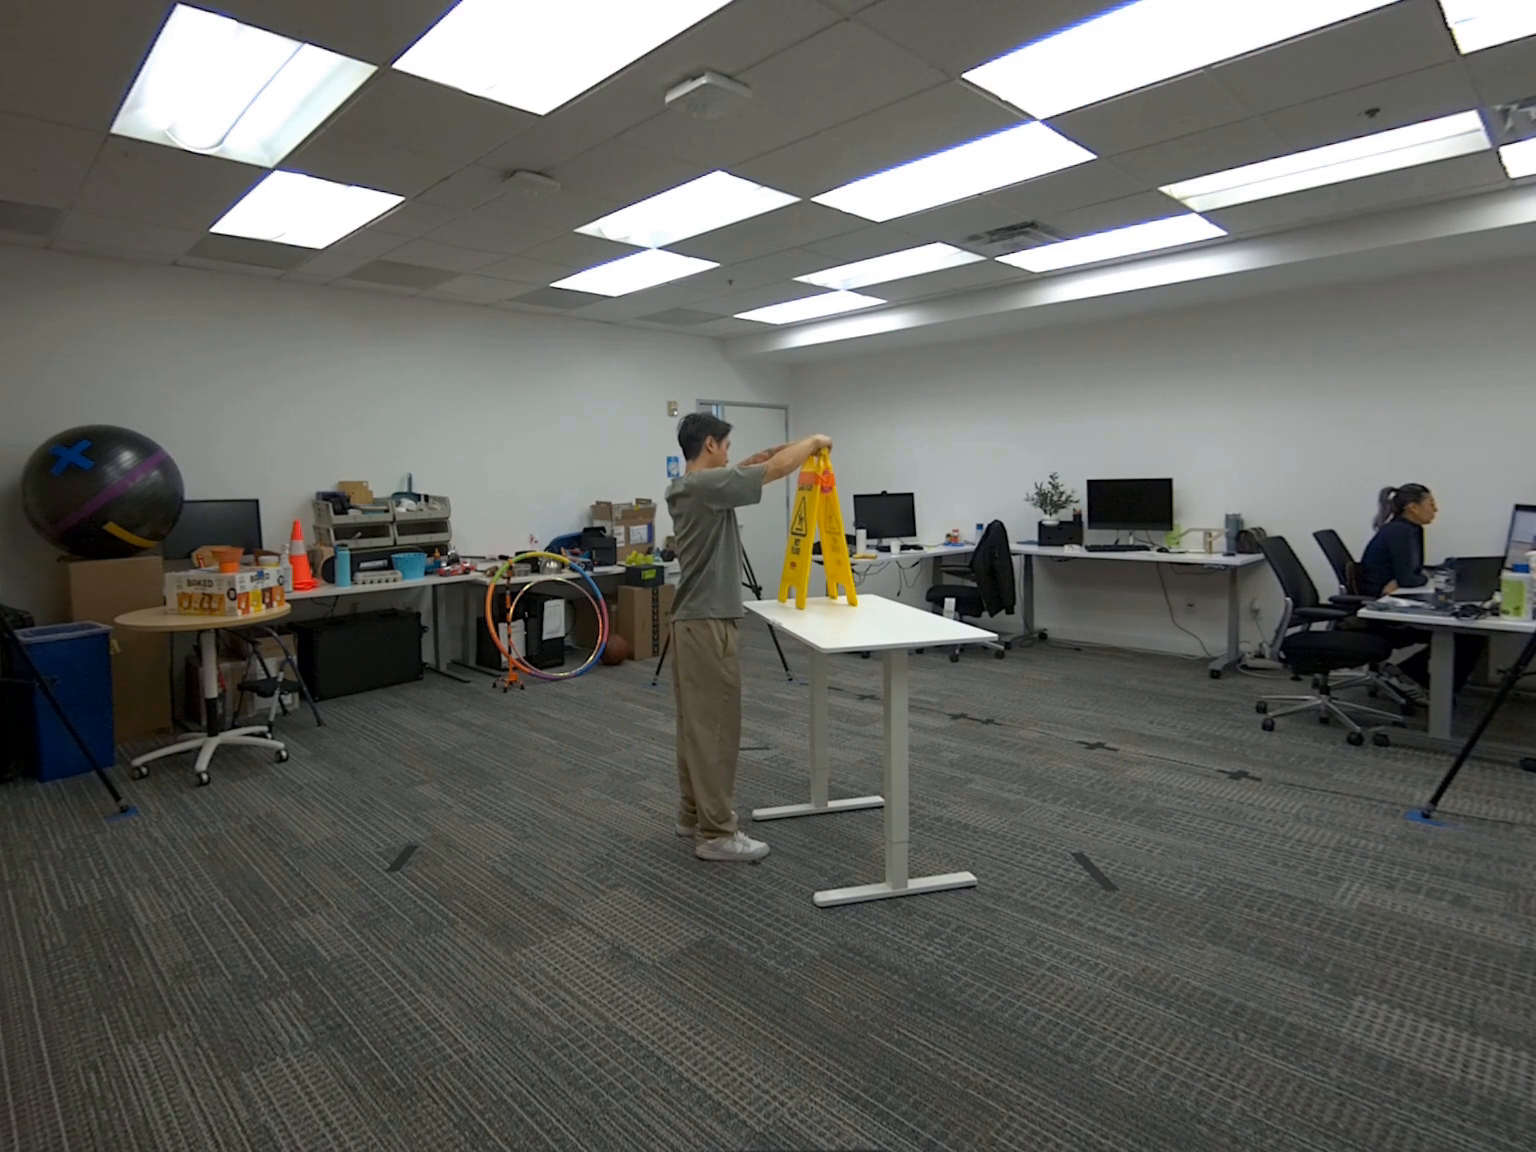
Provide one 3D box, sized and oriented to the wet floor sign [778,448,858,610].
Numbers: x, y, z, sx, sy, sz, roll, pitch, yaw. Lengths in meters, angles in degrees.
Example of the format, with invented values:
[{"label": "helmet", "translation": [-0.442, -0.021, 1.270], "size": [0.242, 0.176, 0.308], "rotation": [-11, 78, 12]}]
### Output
[{"label": "wet floor sign", "translation": [0.197, -0.210, 3.469], "size": [0.285, 0.643, 0.288], "rotation": [-1, 6, -18]}]
